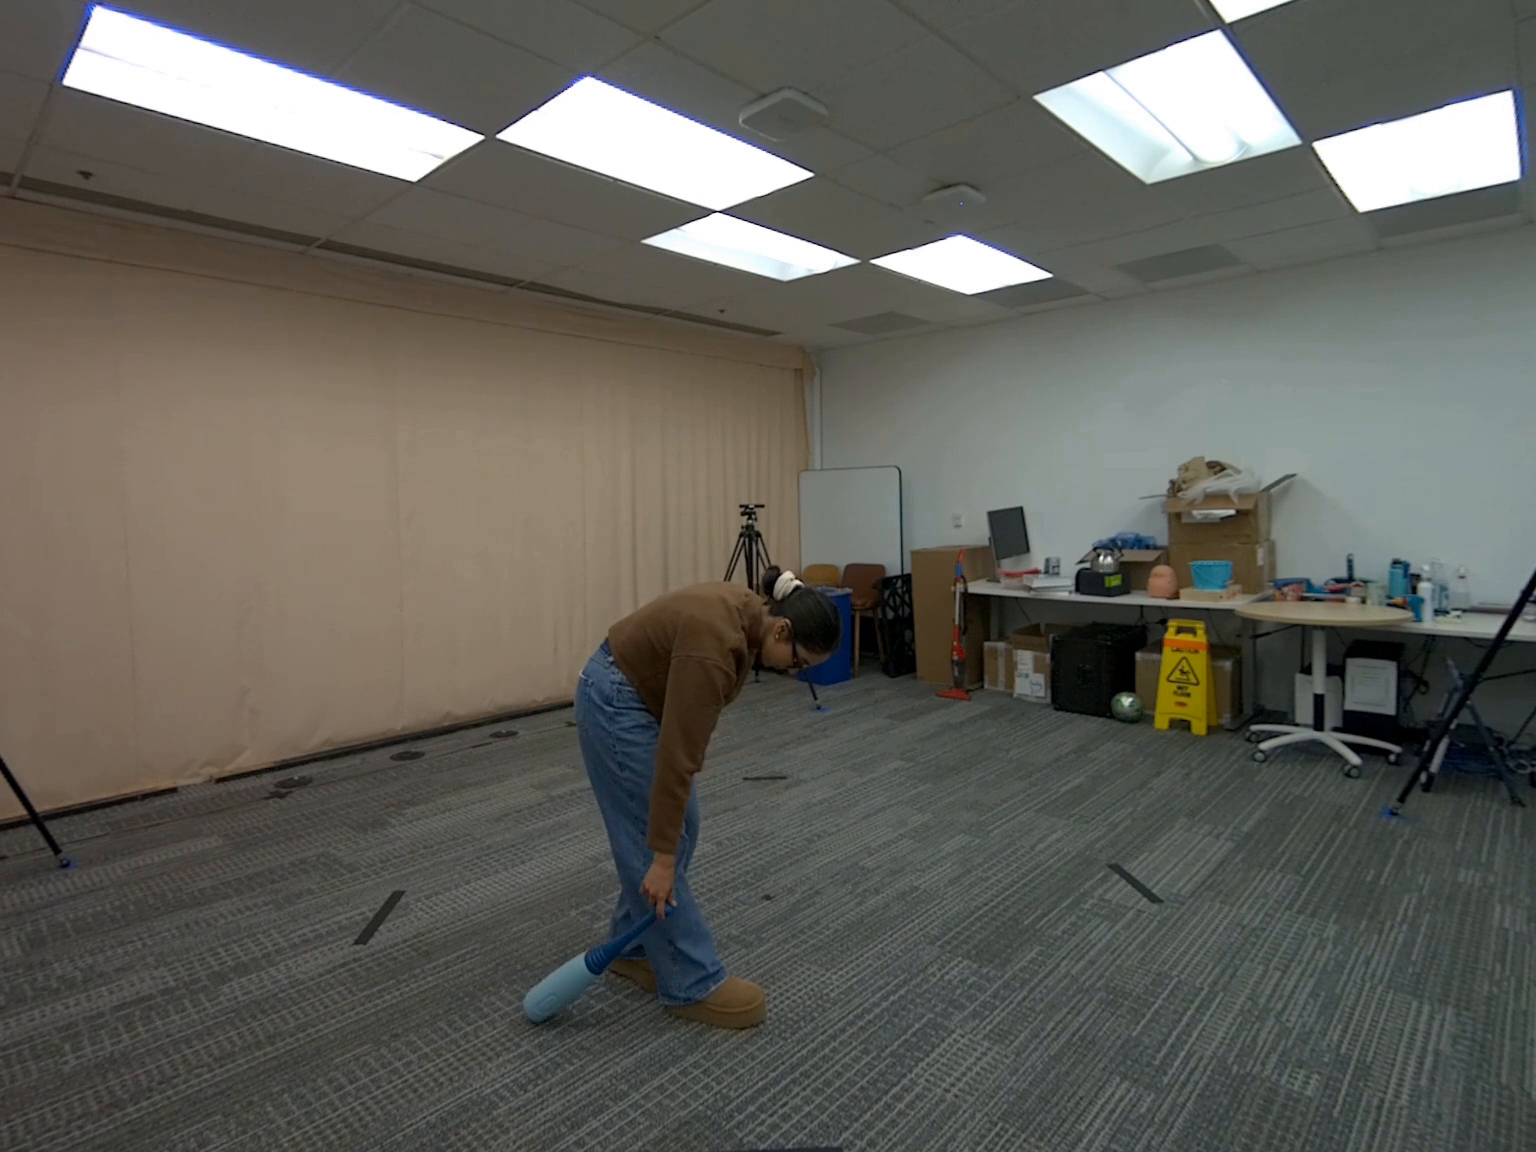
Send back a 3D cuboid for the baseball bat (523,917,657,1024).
[{"bbox_3d":[-0.448,1.020,2.222,0.546,0.090,0.087,-41,-10,18],"label":"baseball bat"}]
